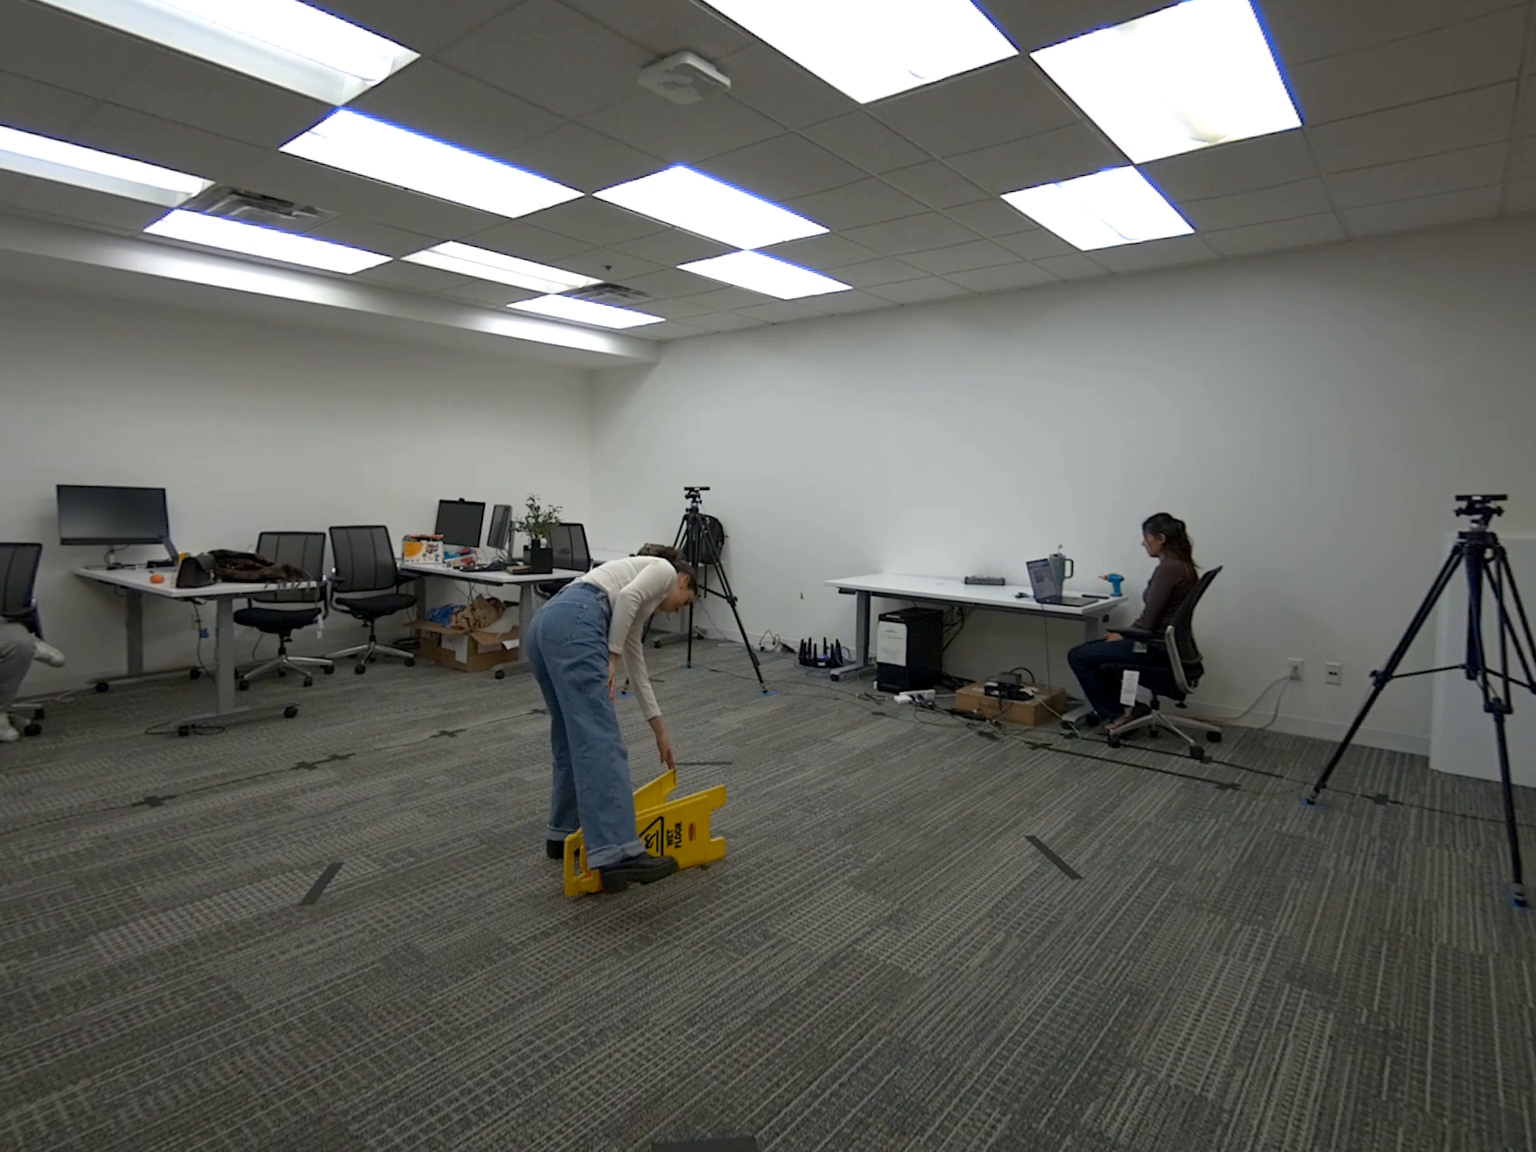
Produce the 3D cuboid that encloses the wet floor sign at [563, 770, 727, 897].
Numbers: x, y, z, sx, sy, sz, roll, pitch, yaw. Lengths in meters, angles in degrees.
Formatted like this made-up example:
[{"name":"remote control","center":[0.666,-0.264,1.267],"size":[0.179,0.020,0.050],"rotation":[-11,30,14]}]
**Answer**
[{"name":"wet floor sign","center":[-0.472,0.938,3.056],"size":[0.299,0.281,0.628],"rotation":[4,8,41]}]
